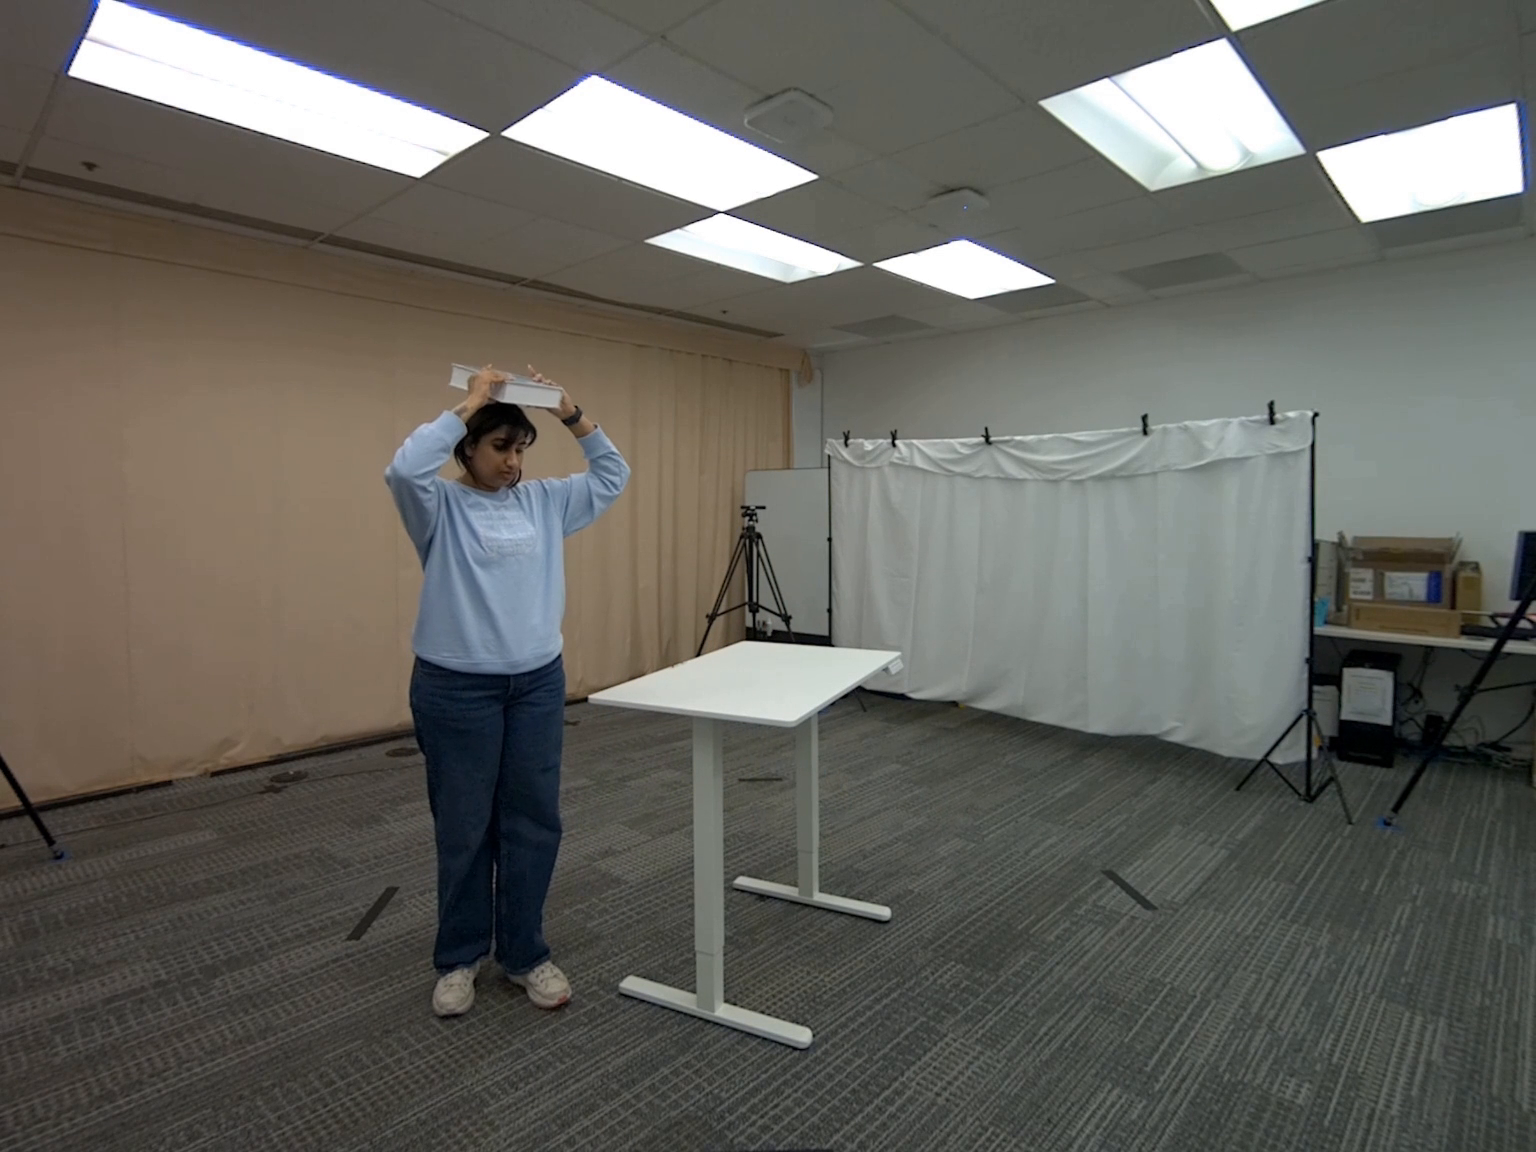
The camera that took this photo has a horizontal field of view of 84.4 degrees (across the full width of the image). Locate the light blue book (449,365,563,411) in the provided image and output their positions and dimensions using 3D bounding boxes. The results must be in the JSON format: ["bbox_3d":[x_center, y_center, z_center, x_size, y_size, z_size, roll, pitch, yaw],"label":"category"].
[{"bbox_3d":[-0.729,-0.522,2.289,0.270,0.059,0.185,22,17,36],"label":"light blue book"}]
